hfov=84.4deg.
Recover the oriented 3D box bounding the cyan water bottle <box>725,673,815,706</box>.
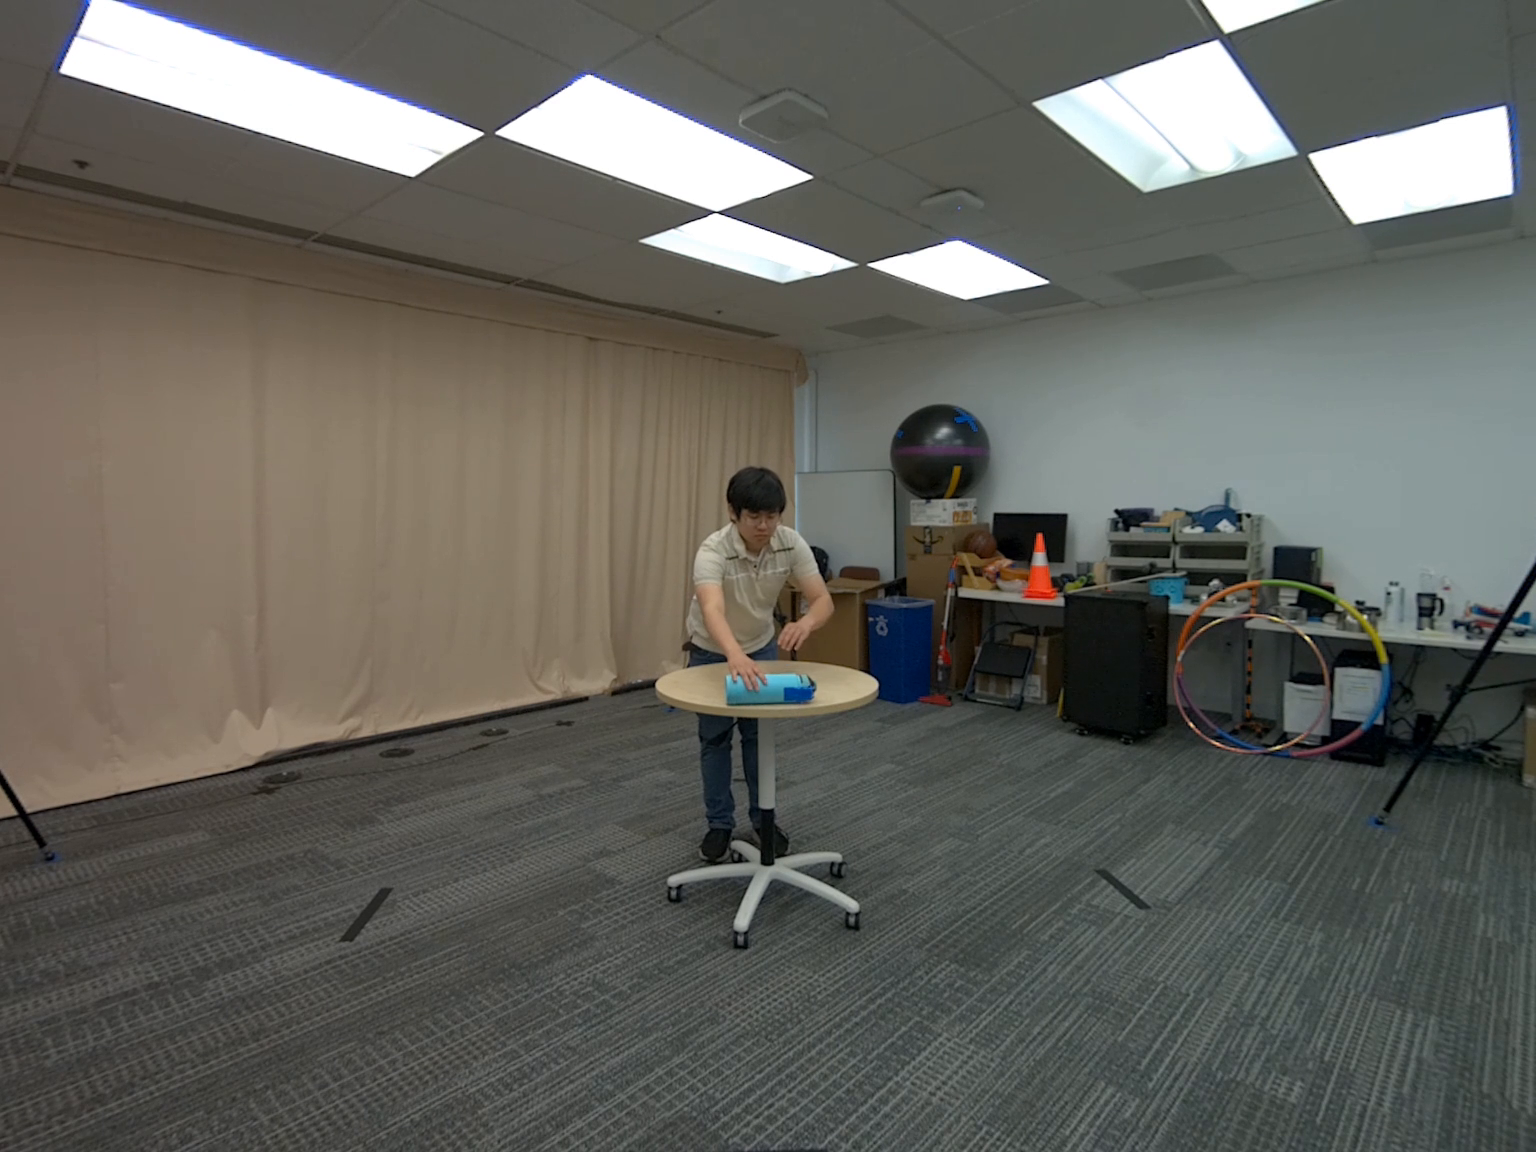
[{"bbox_3d":[0.017,0.353,2.608,0.282,0.092,0.093,-2,4,-3],"label":"cyan water bottle"}]
